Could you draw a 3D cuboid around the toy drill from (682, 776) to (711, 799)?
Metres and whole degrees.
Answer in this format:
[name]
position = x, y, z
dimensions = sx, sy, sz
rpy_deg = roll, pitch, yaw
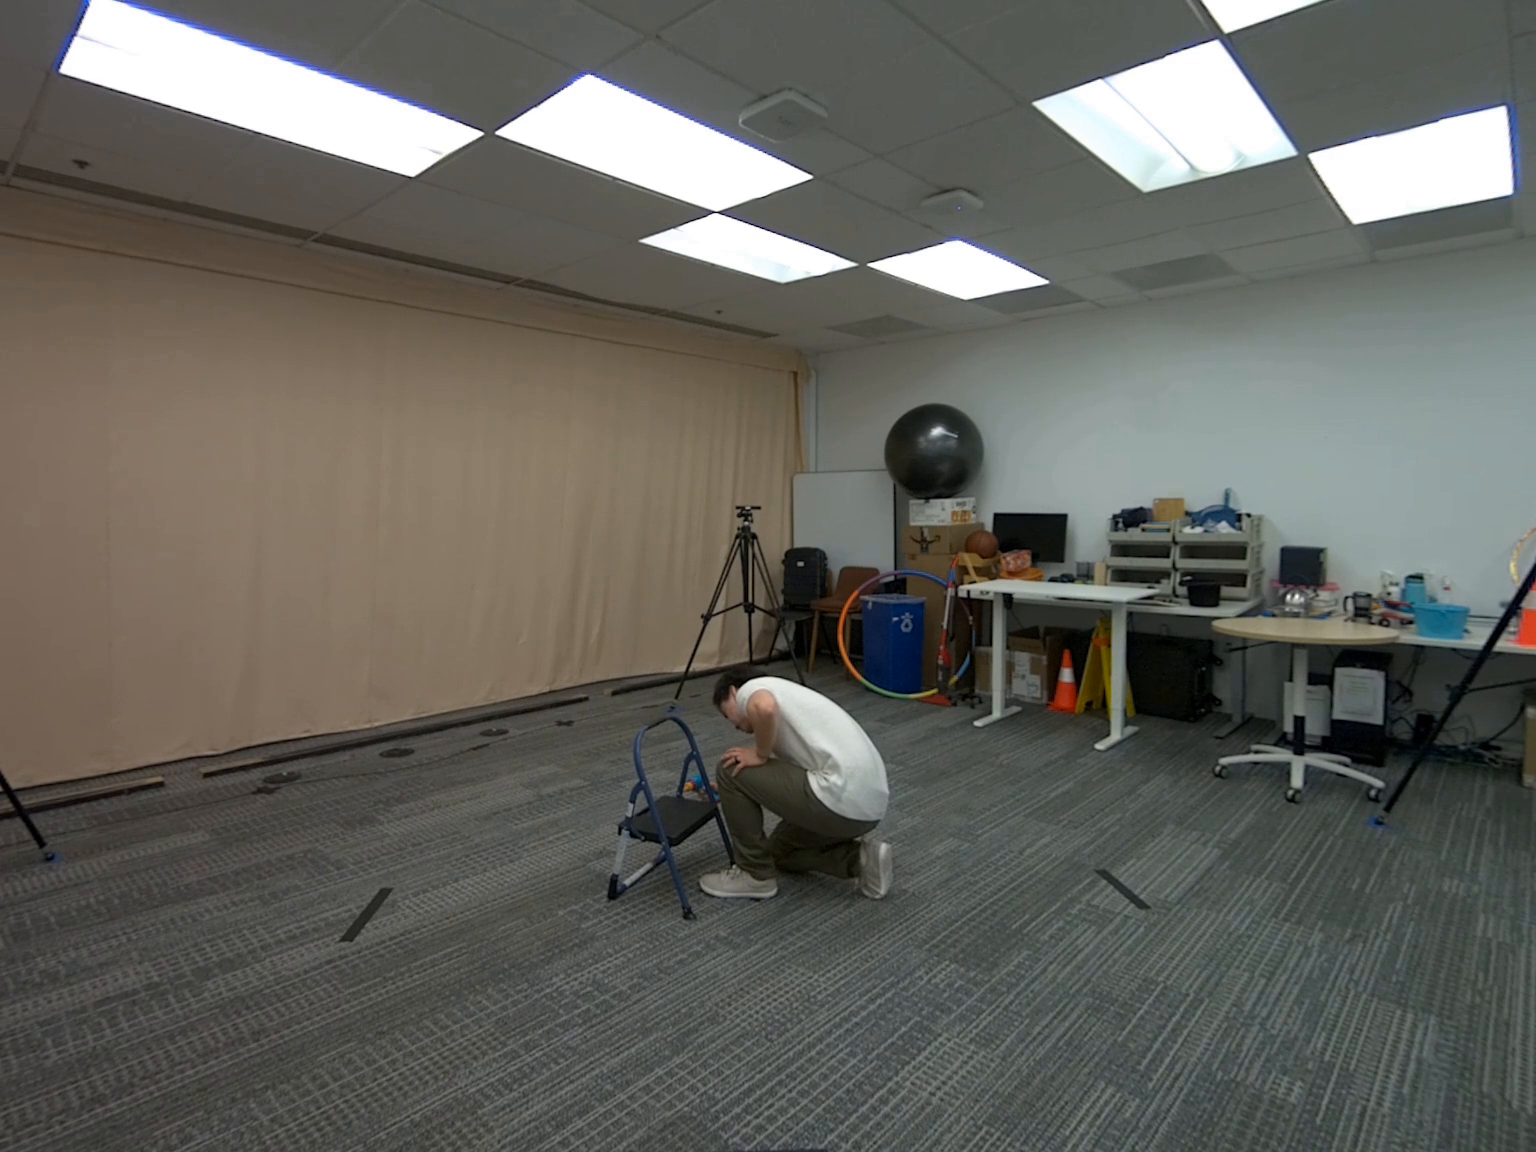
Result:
[toy drill]
position = -0.269, 0.867, 3.366
dimensions = 0.149, 0.061, 0.166
rpy_deg = 45, 20, 15
